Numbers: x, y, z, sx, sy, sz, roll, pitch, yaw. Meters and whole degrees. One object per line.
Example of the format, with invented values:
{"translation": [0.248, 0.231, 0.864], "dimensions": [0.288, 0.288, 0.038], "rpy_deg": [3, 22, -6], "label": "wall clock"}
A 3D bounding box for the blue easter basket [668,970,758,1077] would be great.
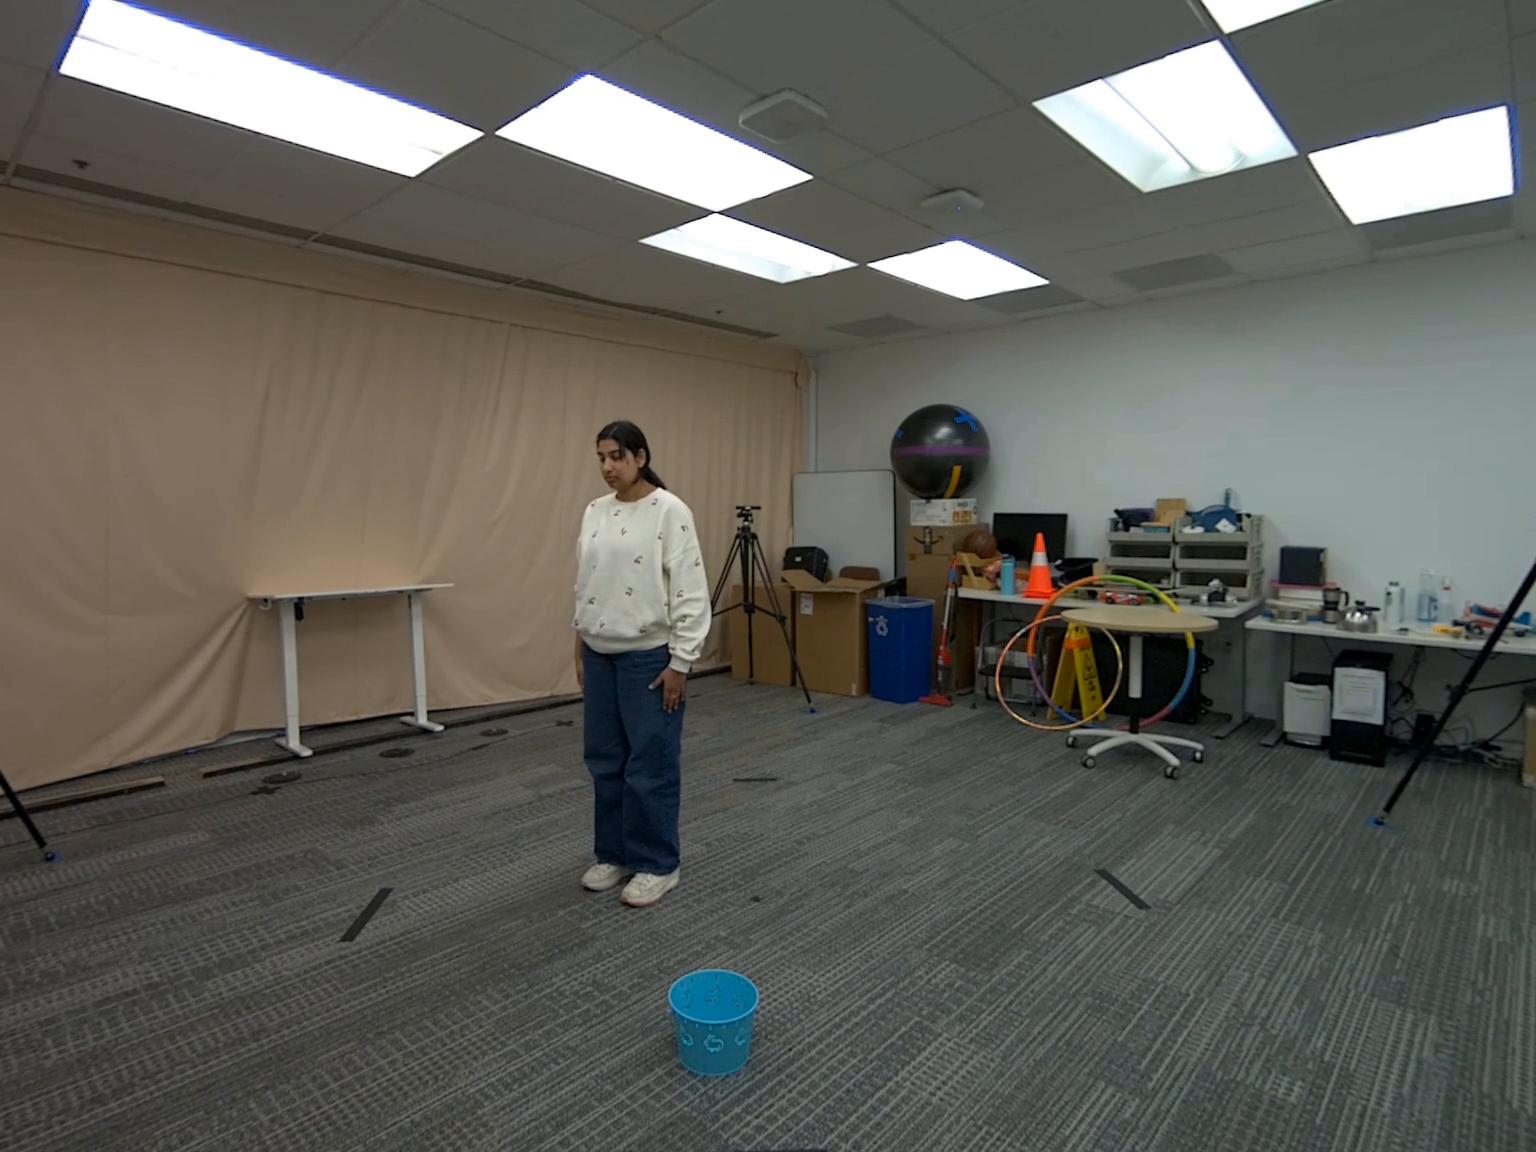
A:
{"translation": [-0.131, 1.135, 2.143], "dimensions": [0.243, 0.155, 0.244], "rpy_deg": [0, 3, -2], "label": "blue easter basket"}
